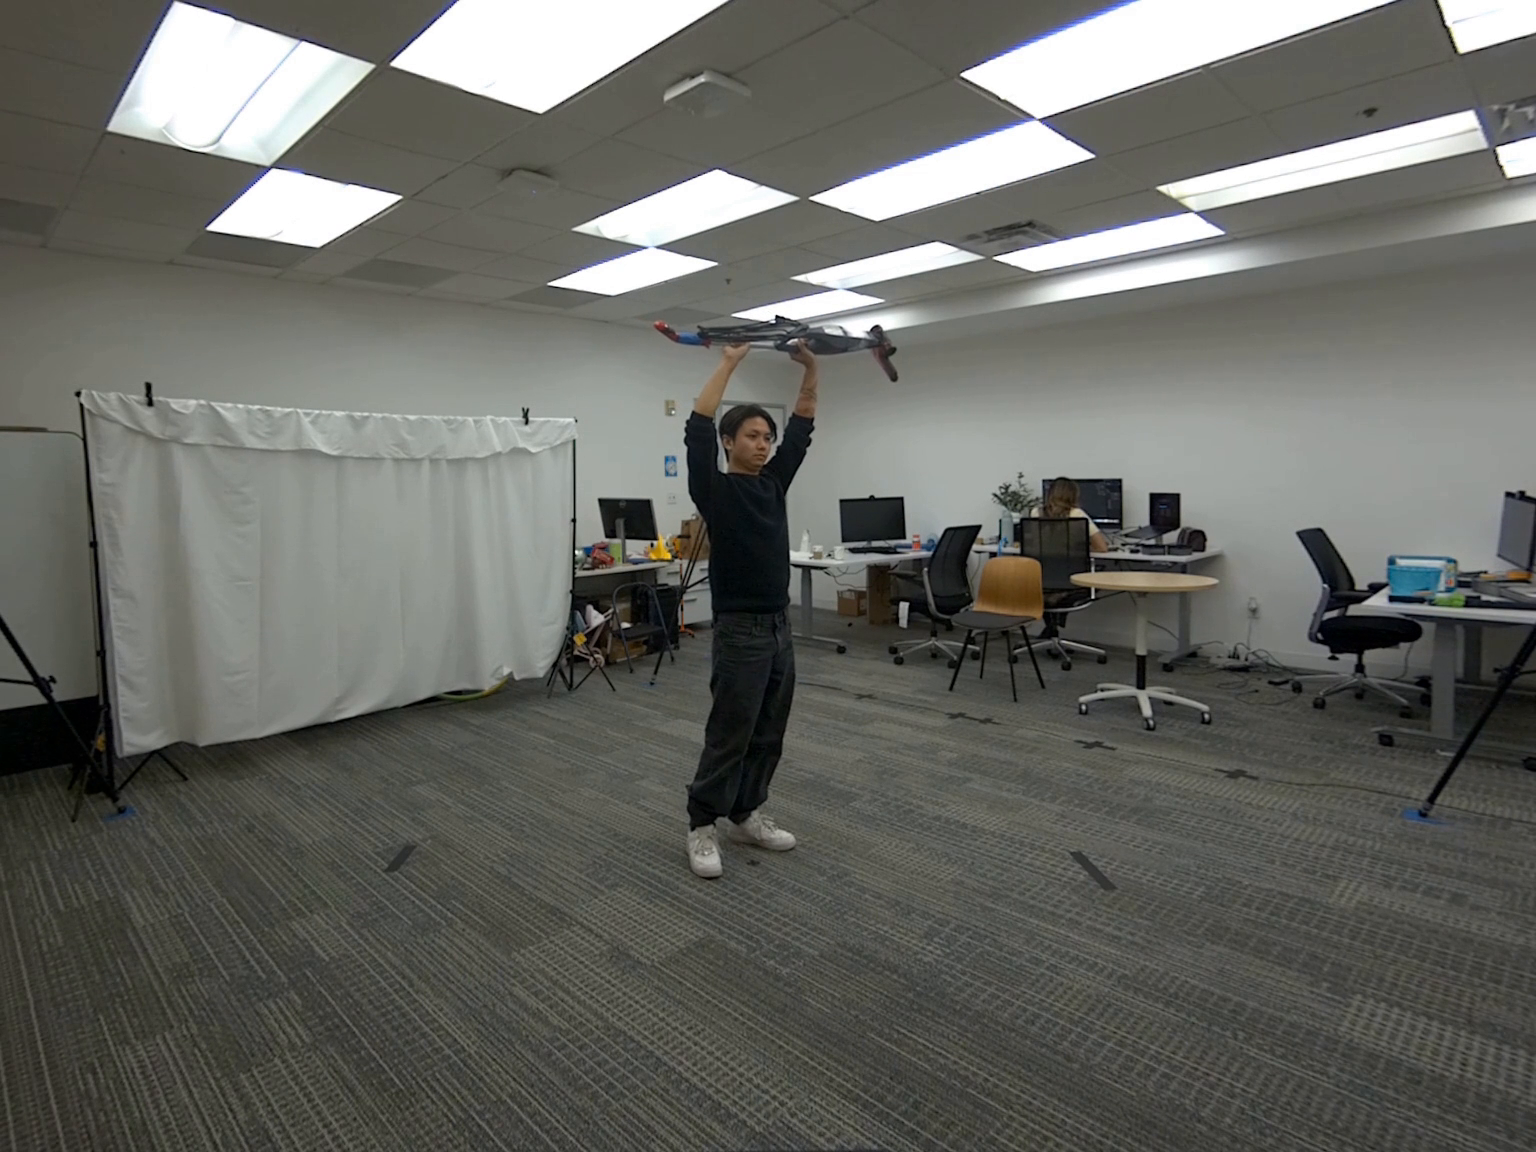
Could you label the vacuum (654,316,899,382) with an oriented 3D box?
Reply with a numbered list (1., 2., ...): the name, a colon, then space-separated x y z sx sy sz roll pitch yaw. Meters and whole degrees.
1. vacuum: 0.055 -0.865 3.085 1.022 0.260 0.143 -4 -35 -36
